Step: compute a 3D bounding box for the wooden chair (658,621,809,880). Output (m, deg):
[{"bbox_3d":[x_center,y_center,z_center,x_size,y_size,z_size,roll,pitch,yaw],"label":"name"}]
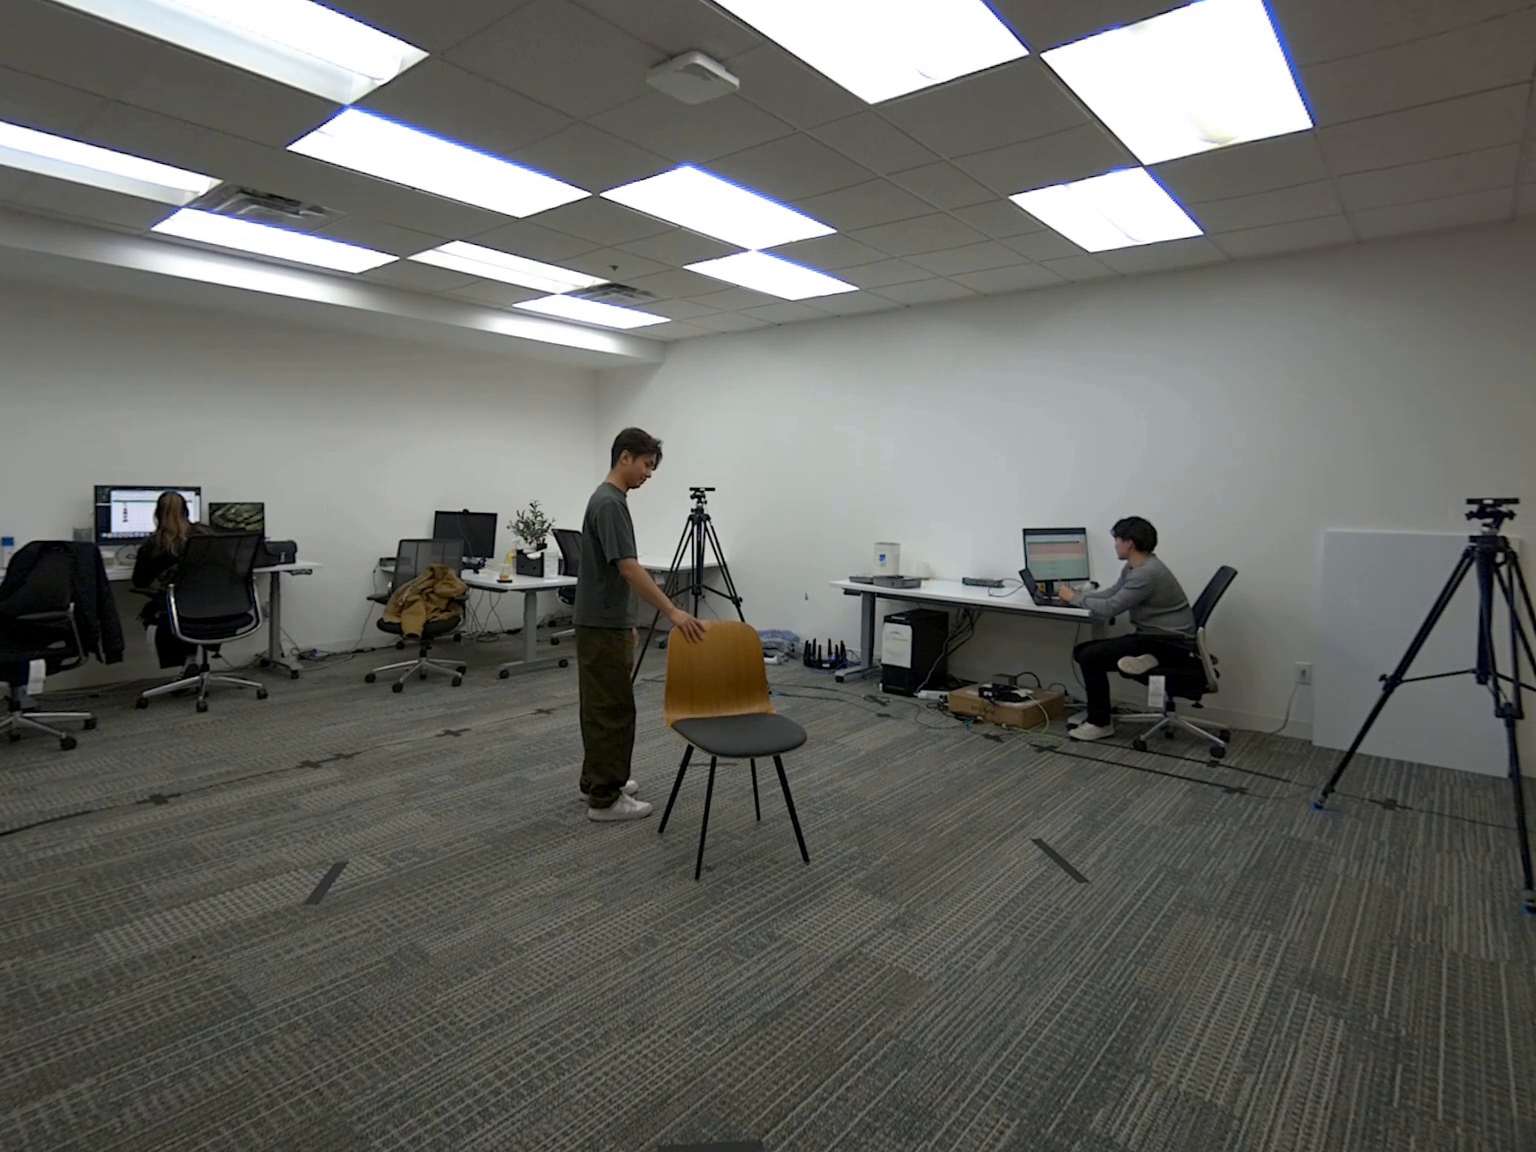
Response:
[{"bbox_3d":[-0.142,0.625,3.265,0.467,0.878,0.534,0,-1,-23],"label":"wooden chair"}]
